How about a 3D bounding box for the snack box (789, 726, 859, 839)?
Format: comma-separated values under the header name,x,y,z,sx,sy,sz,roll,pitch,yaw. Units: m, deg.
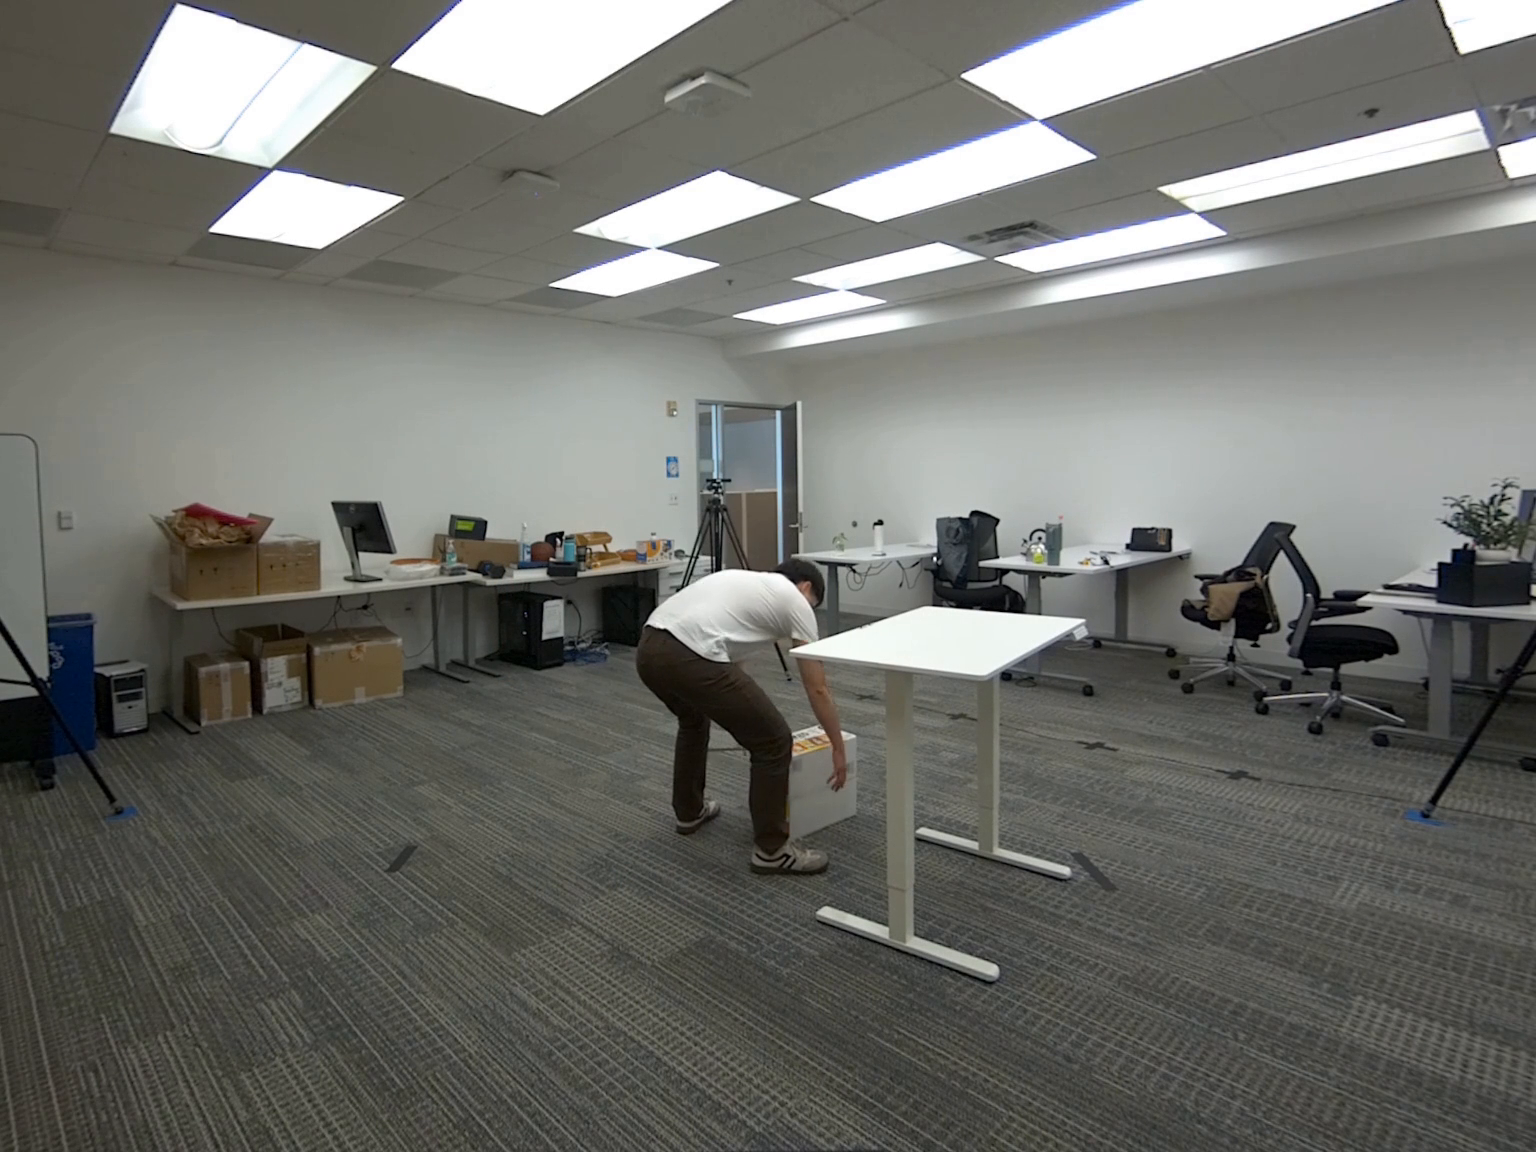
name,x,y,z,sx,sy,sz,roll,pitch,yaw
snack box,0.159,0.829,3.472,0.394,0.338,0.212,-6,8,-43
